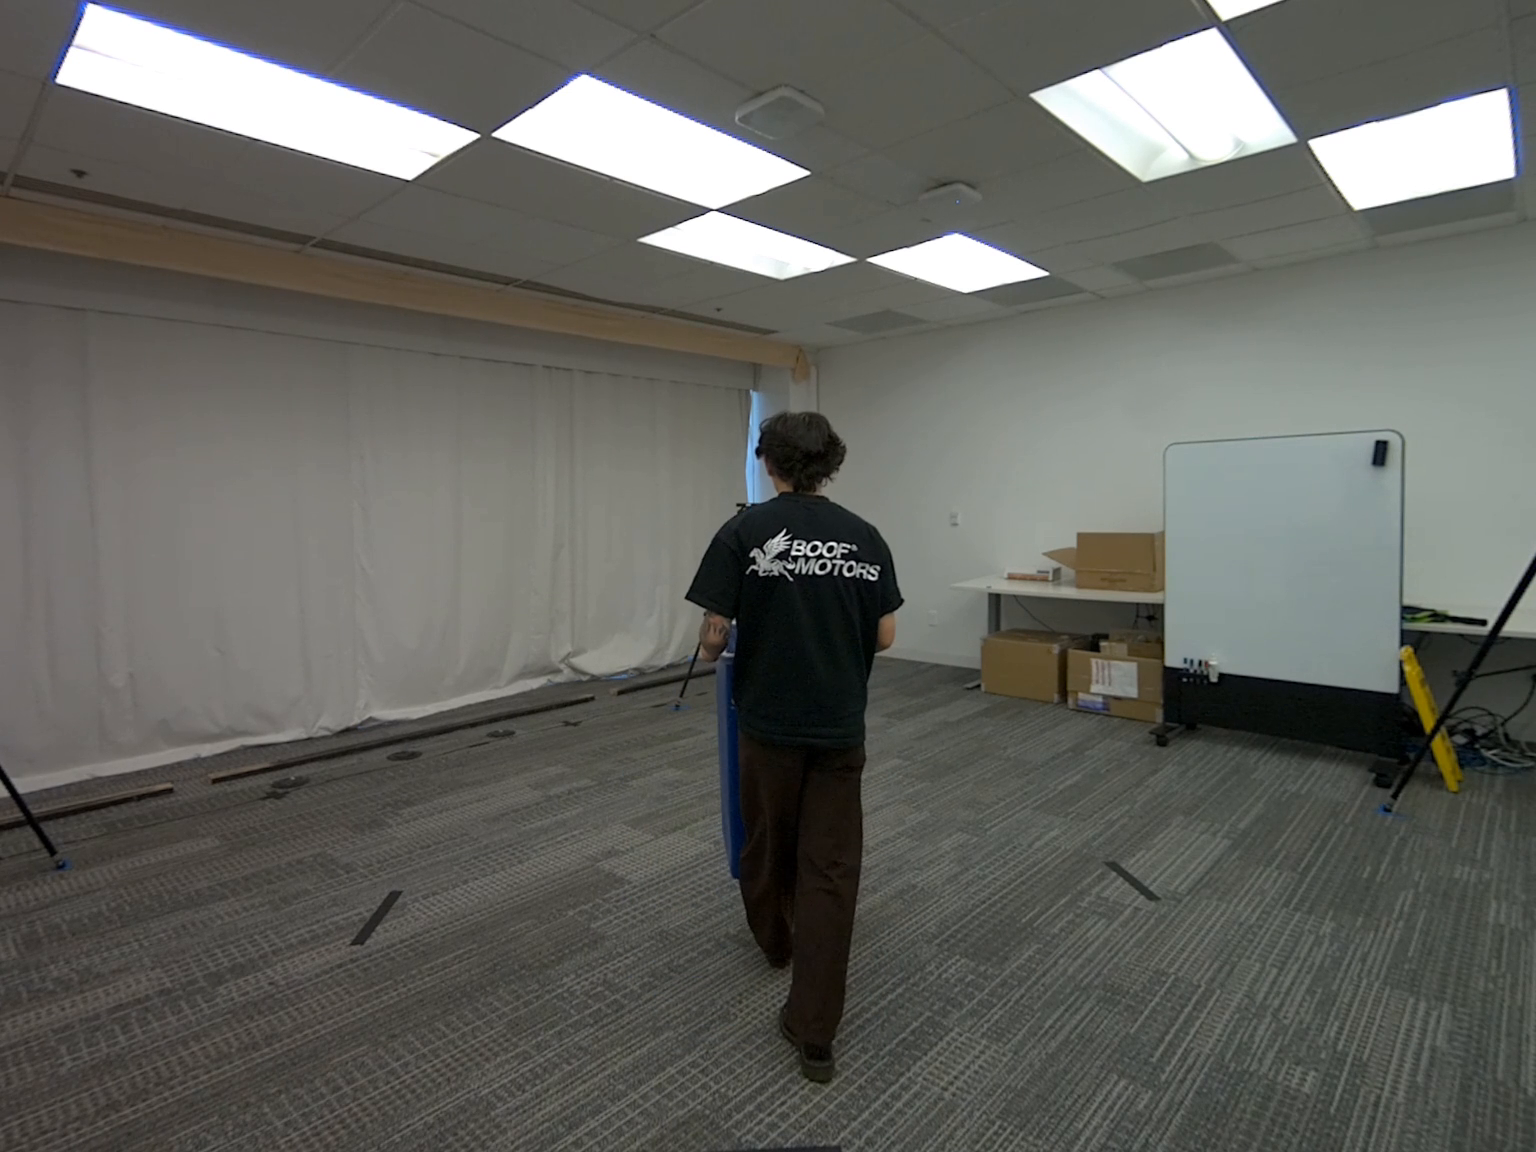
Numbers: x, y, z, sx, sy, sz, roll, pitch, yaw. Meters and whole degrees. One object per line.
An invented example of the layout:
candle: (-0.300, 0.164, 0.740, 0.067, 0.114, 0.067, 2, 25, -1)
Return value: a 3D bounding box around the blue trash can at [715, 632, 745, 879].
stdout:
blue trash can: (0.023, 0.537, 2.629, 0.372, 0.709, 0.383, -1, 10, -6)
